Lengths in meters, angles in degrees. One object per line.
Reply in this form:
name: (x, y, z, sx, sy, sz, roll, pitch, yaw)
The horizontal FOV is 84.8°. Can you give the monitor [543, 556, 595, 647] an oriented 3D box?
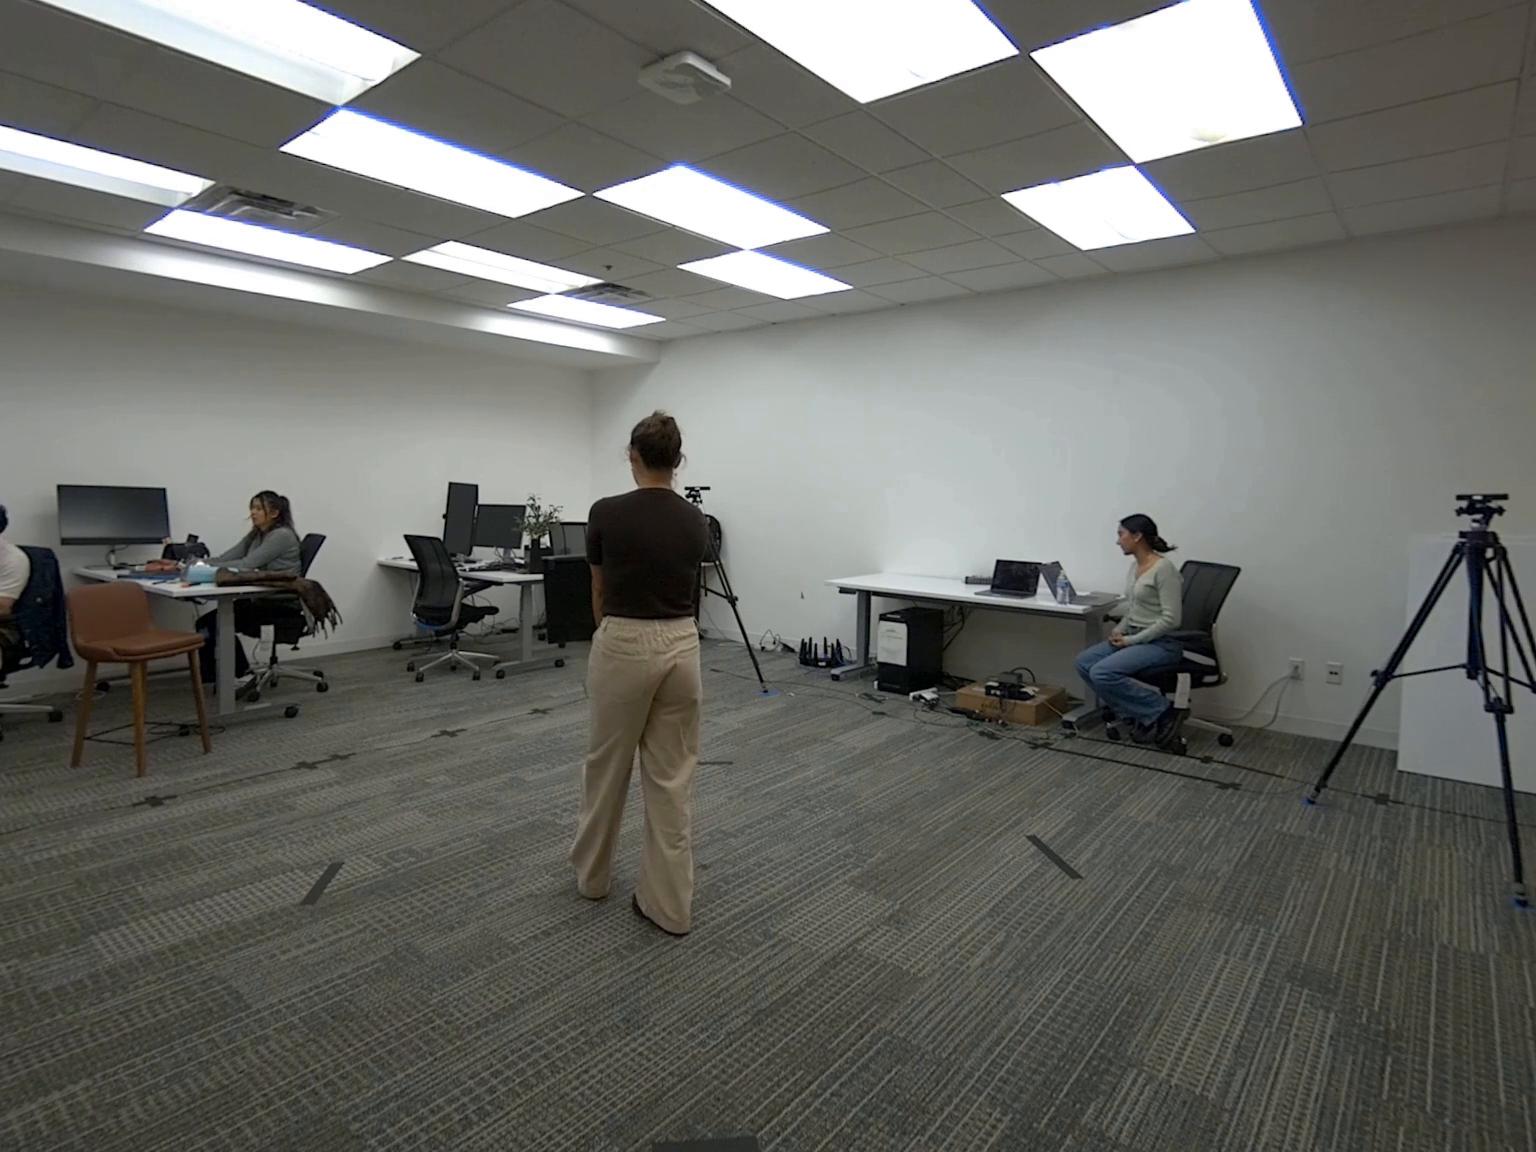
monitor: (-0.503, 0.158, 2.920, 0.531, 0.514, 0.193, -4, 18, -15)
